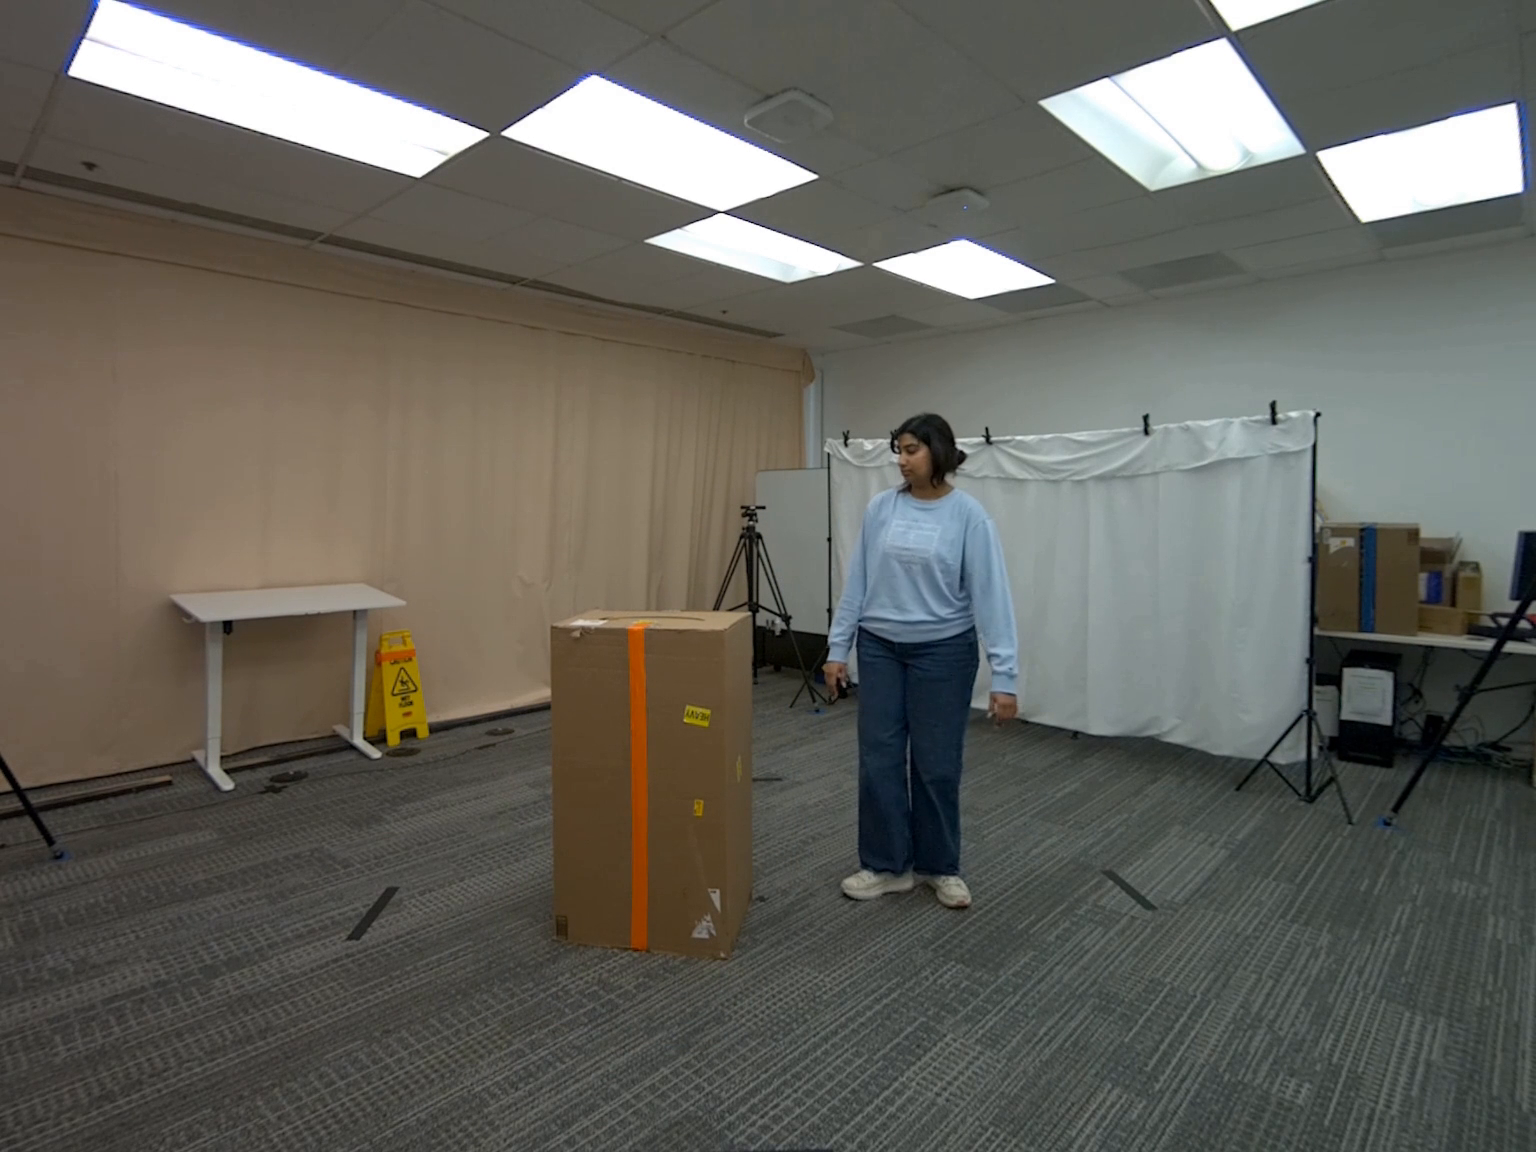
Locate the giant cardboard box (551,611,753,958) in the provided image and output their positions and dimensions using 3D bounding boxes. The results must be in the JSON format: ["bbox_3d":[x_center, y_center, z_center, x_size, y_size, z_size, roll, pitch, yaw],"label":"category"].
[{"bbox_3d":[-0.367,0.650,2.820,0.585,1.024,0.422,1,3,11],"label":"giant cardboard box"}]
